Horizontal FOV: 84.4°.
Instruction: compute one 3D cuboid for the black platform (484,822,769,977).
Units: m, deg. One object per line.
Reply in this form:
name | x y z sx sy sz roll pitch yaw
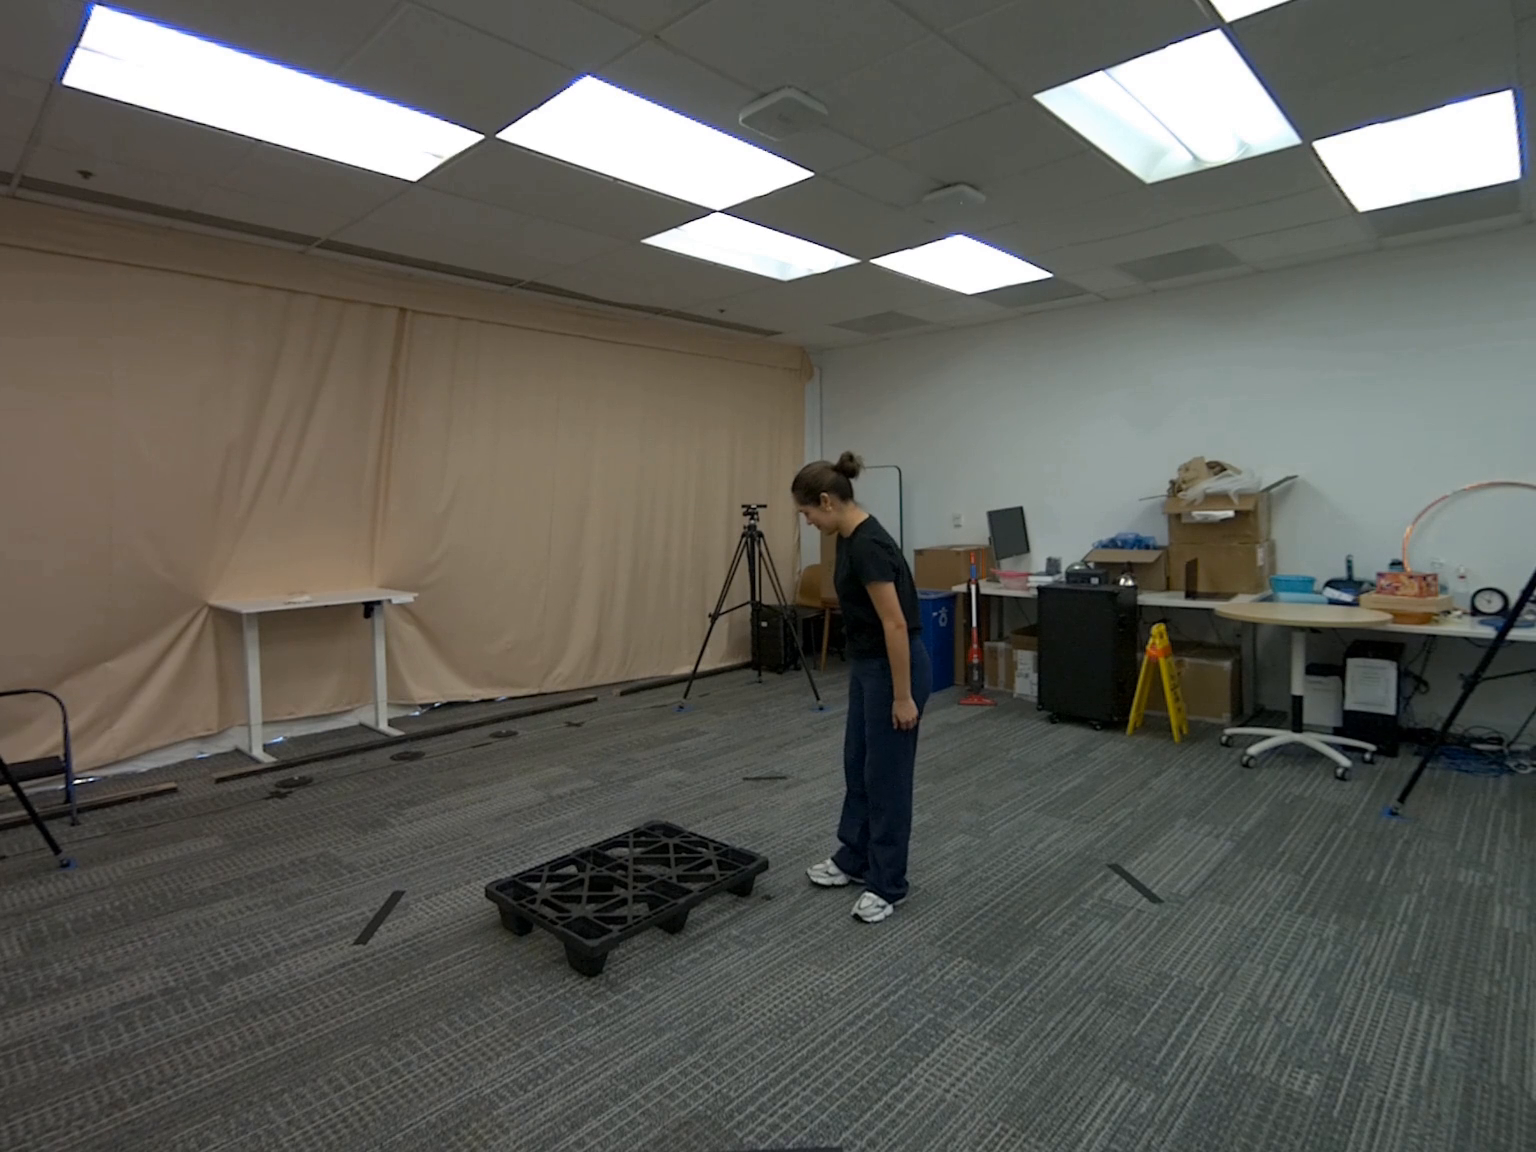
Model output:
black platform | -0.453 1.090 2.913 0.625 0.143 0.782 4 7 41
